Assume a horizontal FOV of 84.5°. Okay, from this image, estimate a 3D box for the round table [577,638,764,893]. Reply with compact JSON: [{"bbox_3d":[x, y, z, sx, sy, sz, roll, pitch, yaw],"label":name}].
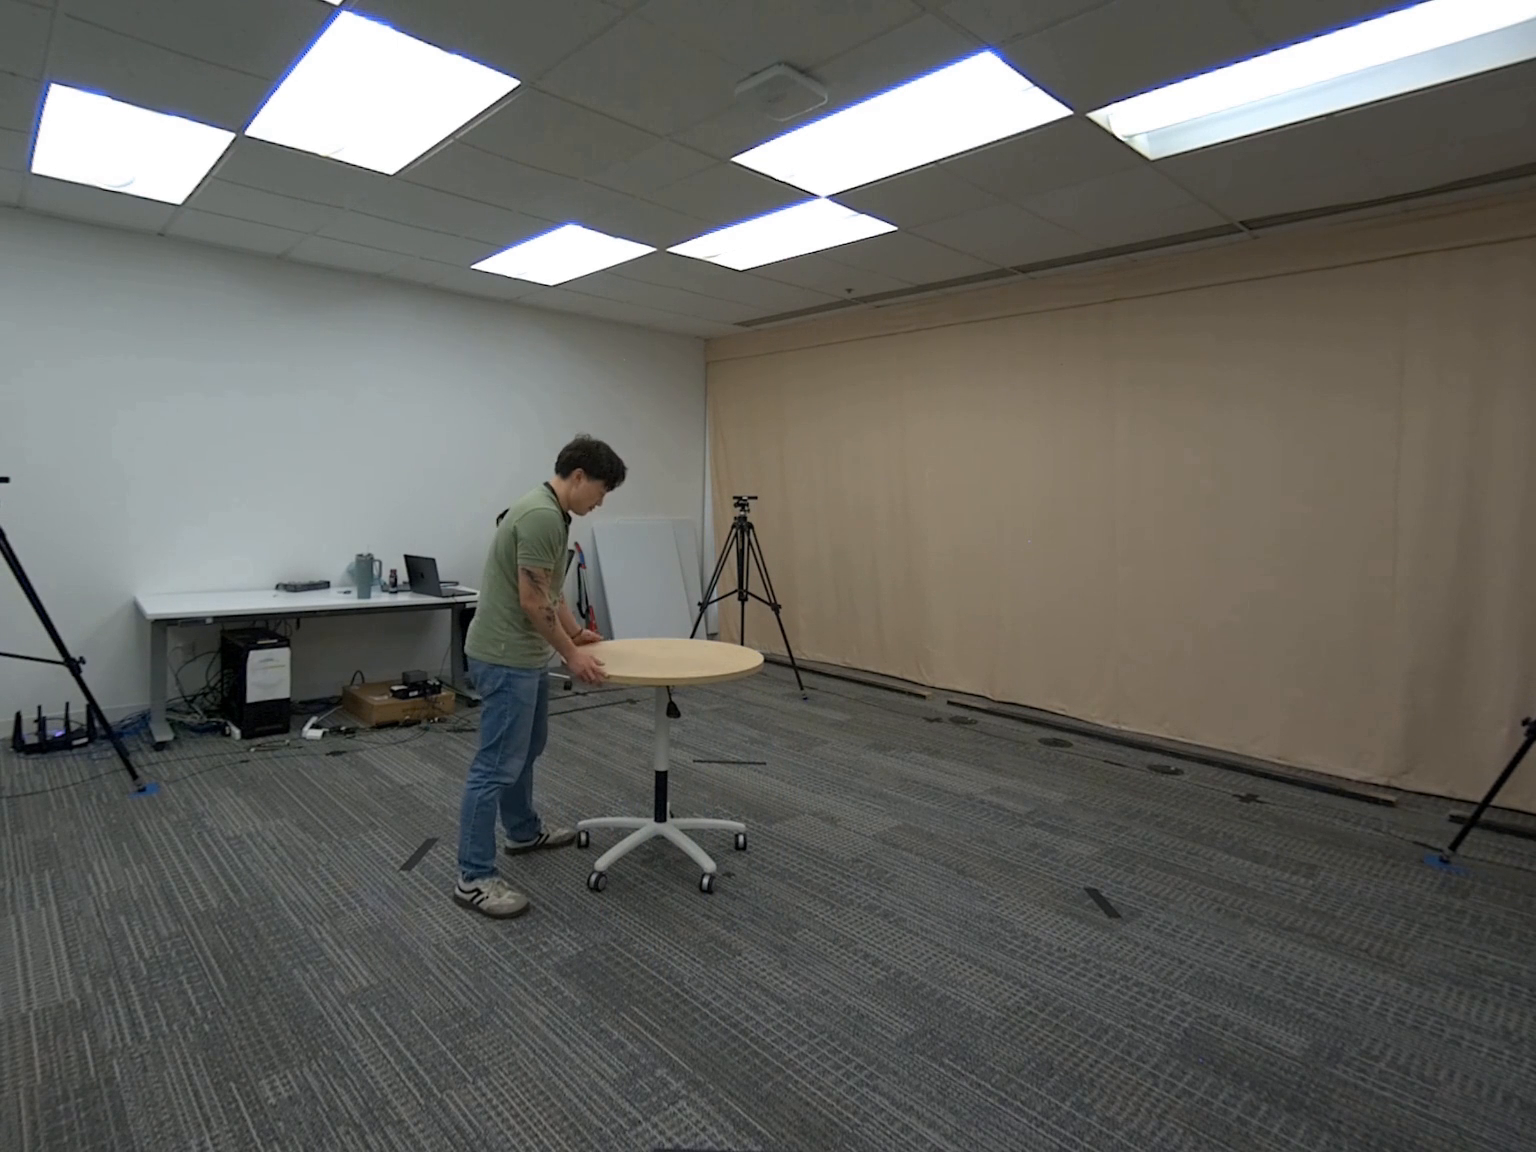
[{"bbox_3d":[-0.409,0.697,3.226,0.763,0.792,0.767,1,4,-1],"label":"round table"}]
